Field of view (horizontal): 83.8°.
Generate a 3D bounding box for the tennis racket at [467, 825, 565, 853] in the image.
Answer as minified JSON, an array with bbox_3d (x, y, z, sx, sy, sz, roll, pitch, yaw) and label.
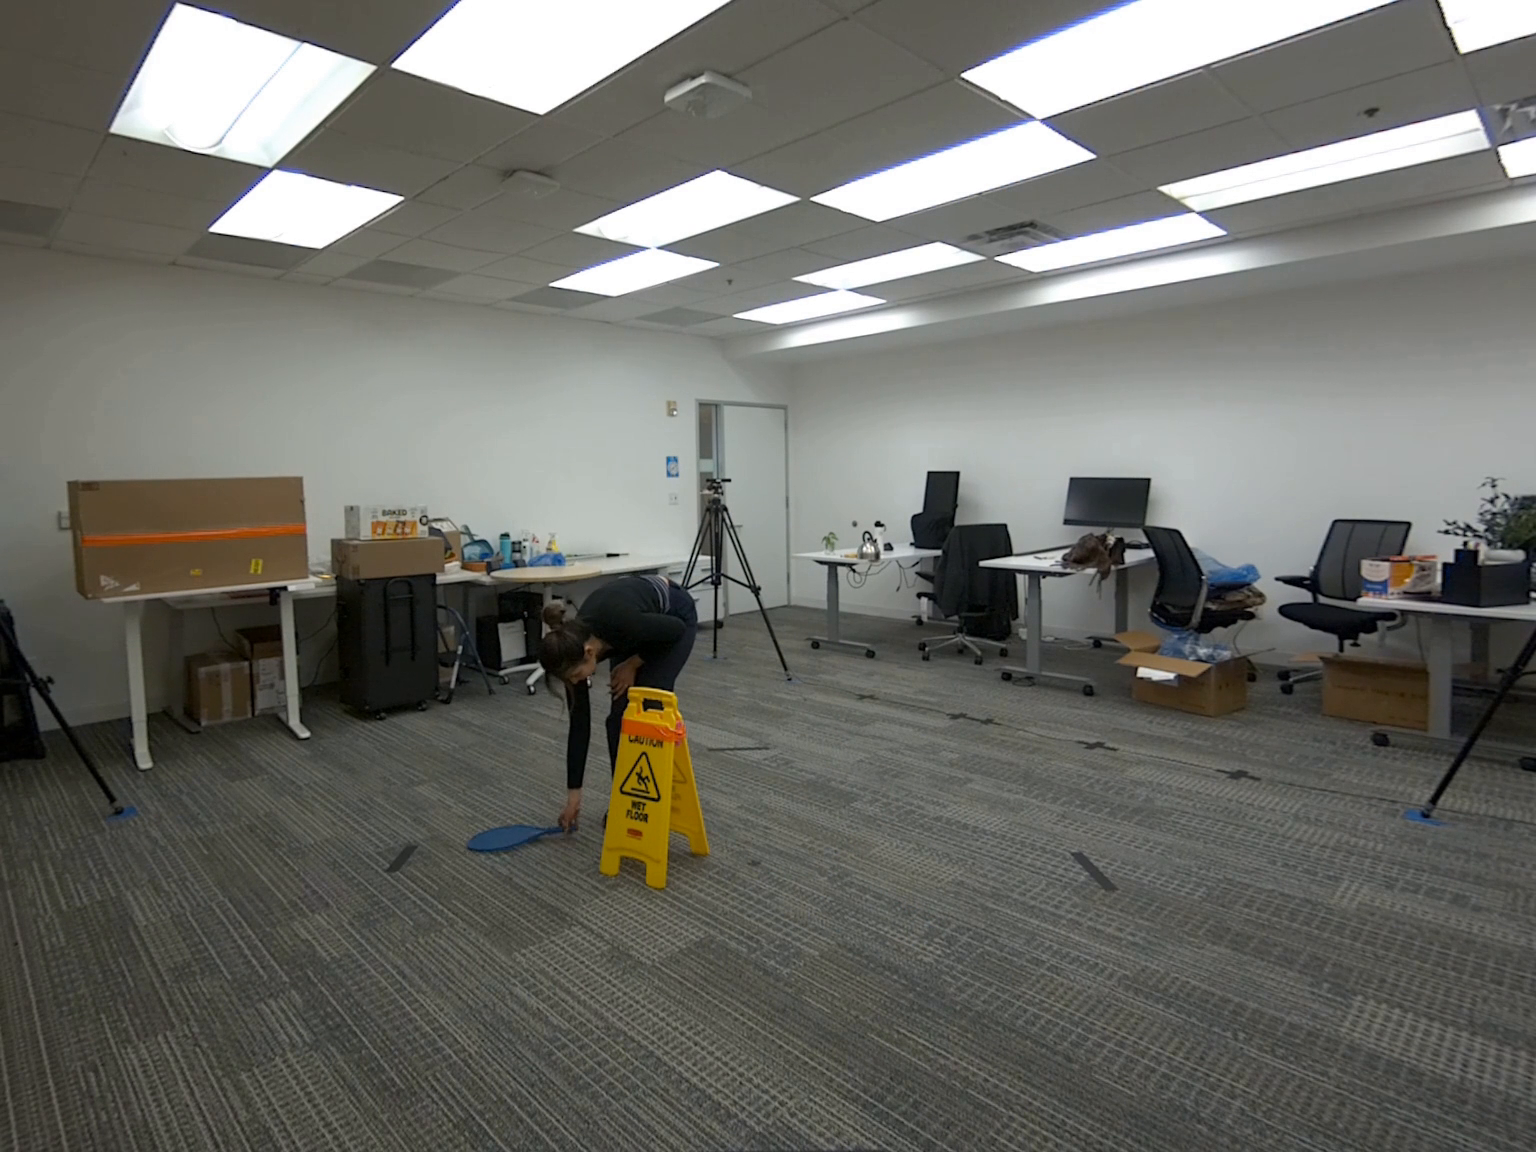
[{"bbox_3d":[-0.951,1.009,3.340,0.432,0.031,0.215,-7,6,-2],"label":"tennis racket"}]
